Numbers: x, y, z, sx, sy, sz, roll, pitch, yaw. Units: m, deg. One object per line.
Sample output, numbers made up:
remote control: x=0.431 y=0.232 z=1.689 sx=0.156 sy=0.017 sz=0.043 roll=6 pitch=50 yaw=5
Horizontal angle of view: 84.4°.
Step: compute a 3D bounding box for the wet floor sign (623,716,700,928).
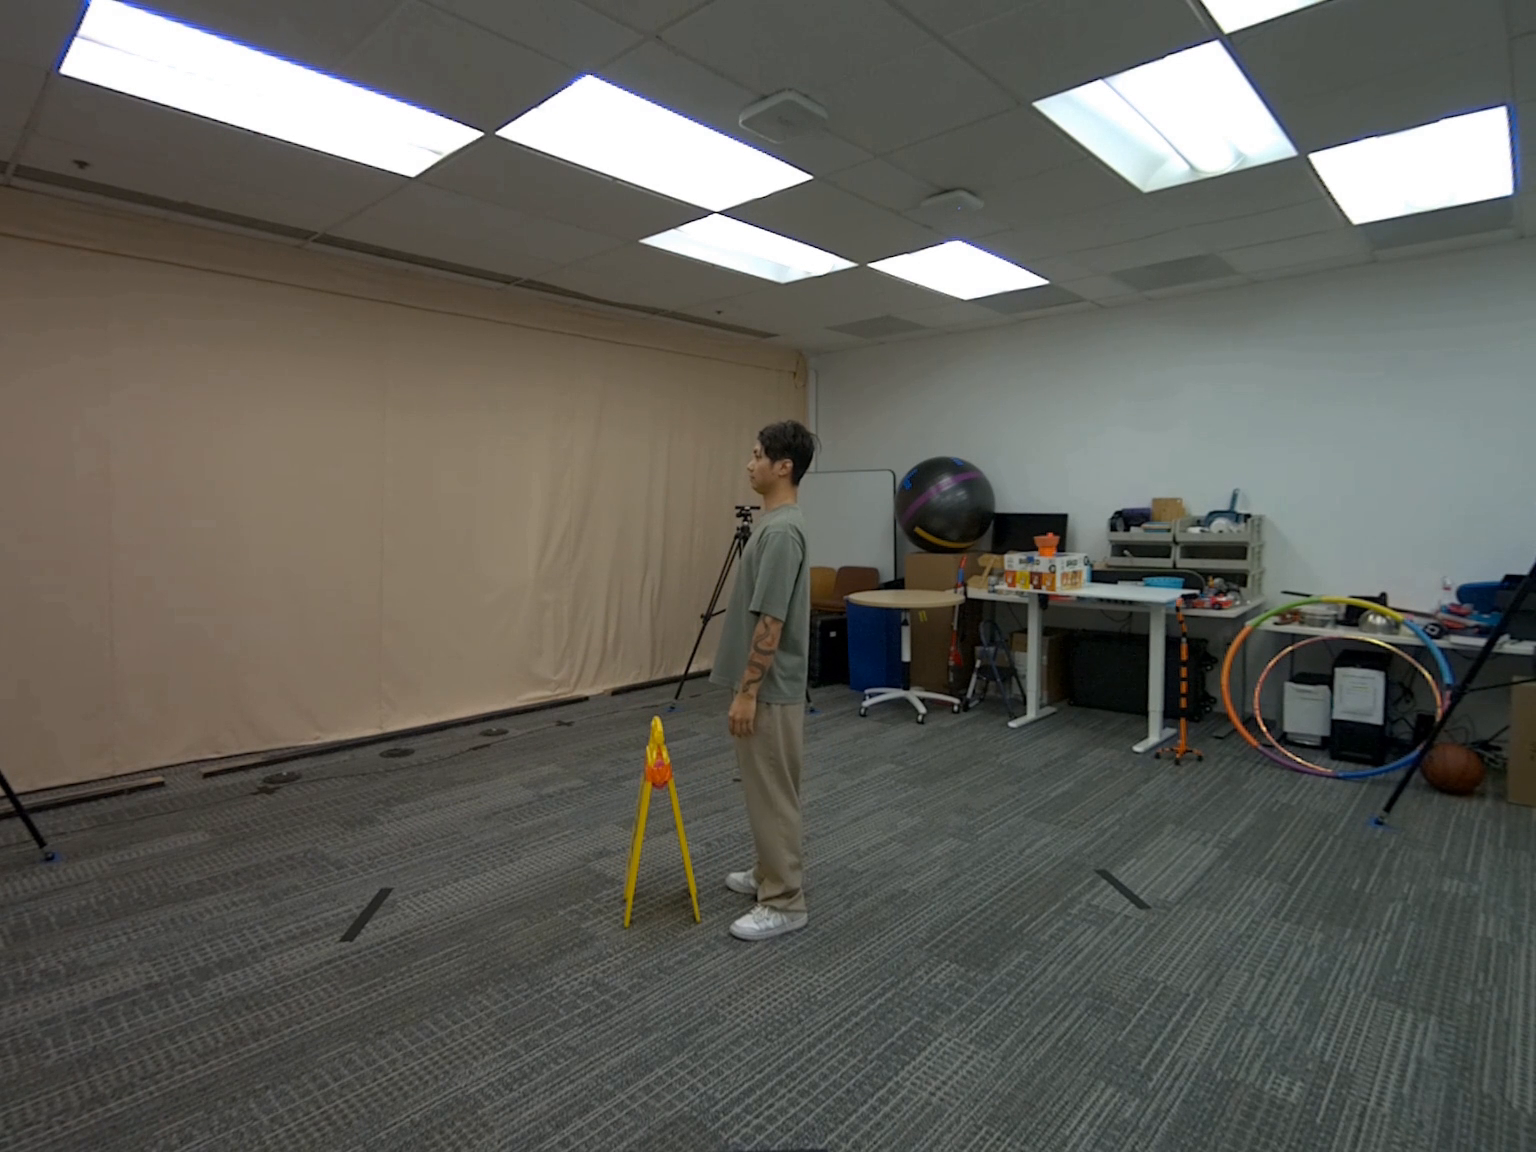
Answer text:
wet floor sign: x=-0.374 y=0.831 z=2.924 sx=0.287 sy=0.645 sz=0.285 roll=-1 pitch=2 yaw=-9
